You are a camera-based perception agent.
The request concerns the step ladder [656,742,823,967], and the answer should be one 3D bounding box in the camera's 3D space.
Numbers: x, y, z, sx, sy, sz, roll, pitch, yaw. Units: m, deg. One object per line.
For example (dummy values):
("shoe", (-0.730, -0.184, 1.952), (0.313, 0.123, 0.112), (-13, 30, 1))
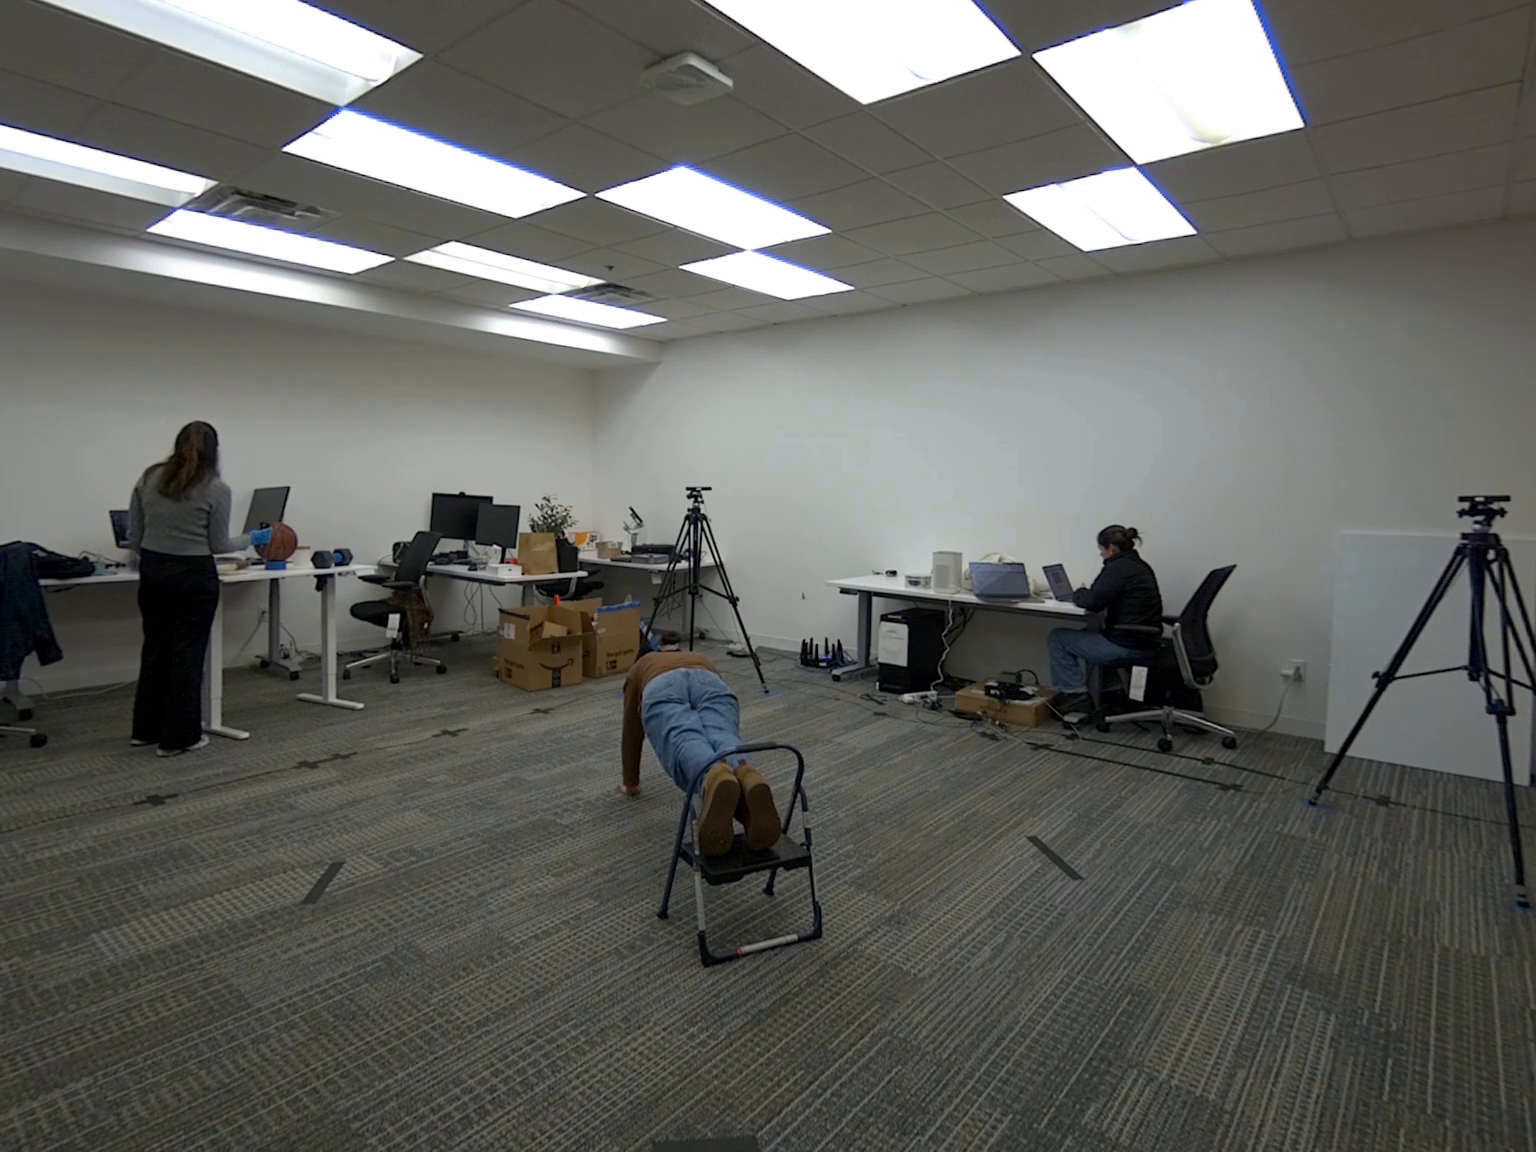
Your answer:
("step ladder", (-0.092, 0.810, 2.686), (0.419, 0.604, 0.360), (-1, 4, -29))
